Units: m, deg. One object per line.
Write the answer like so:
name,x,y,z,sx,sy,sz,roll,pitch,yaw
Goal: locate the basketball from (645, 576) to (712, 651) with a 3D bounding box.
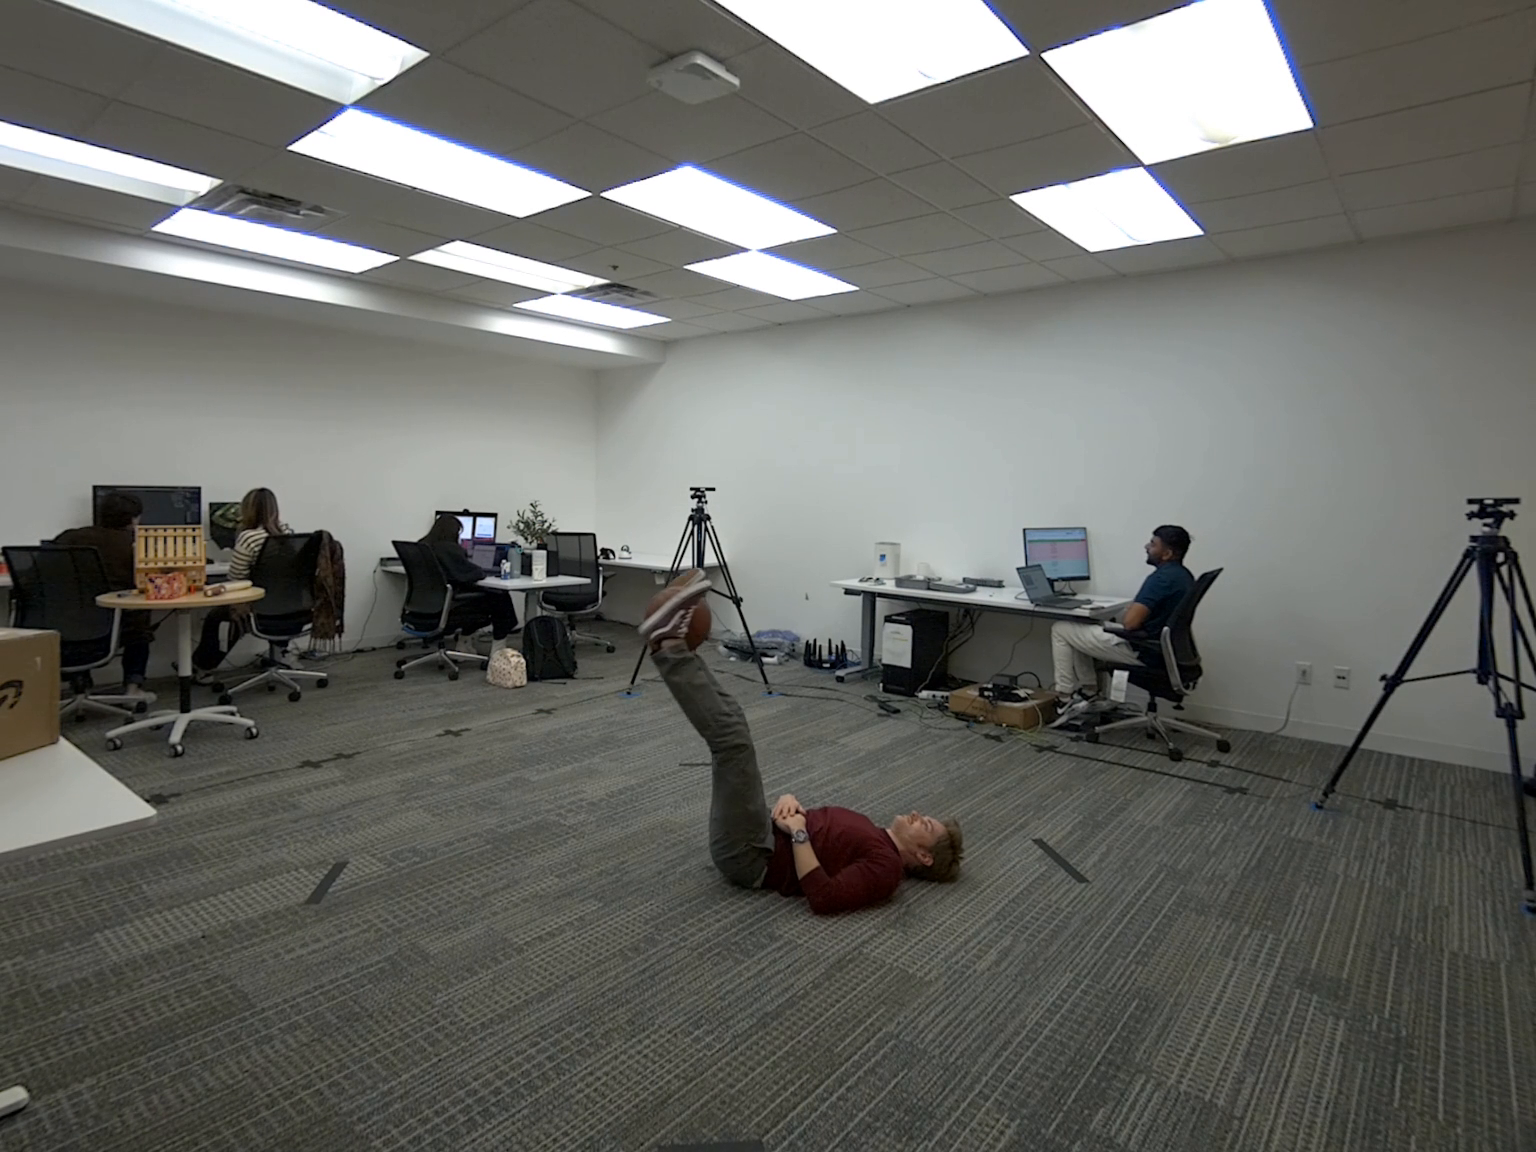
basketball,-0.346,0.164,3.035,0.236,0.235,0.237,-3,3,-2
